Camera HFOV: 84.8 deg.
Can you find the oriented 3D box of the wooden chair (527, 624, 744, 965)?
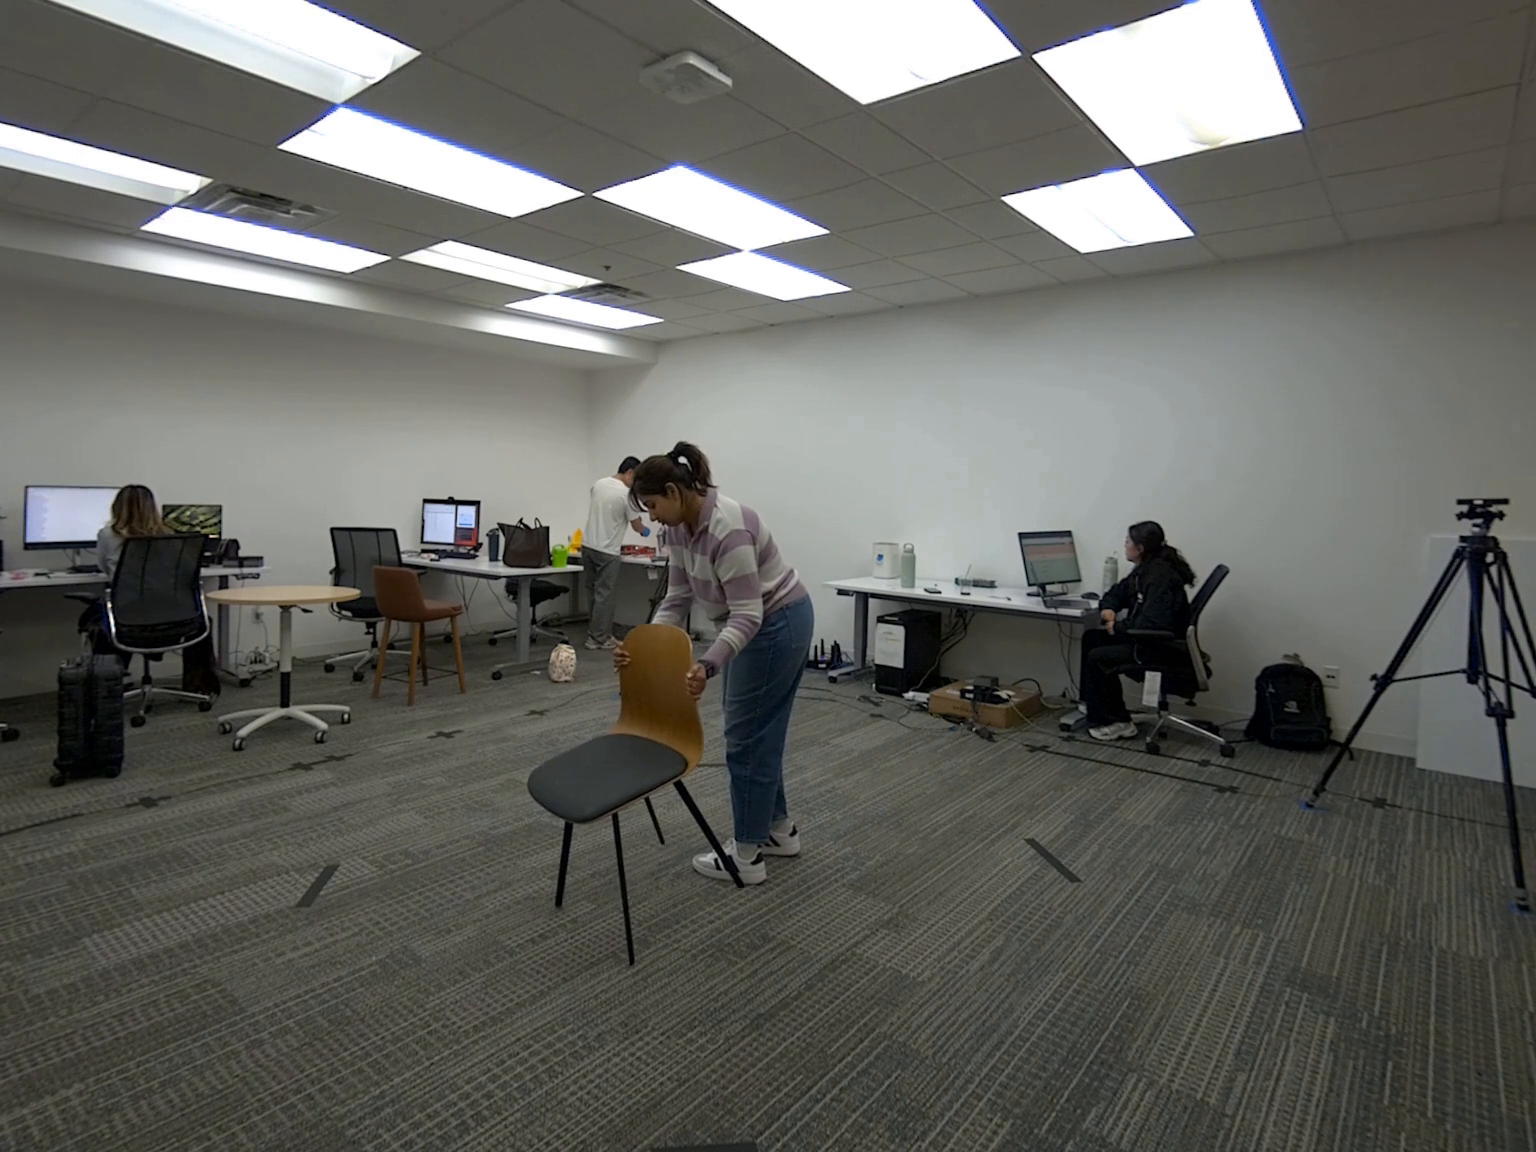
[{"bbox_3d":[-0.466,0.641,2.684,0.511,0.869,0.494,-13,12,-40],"label":"wooden chair"}]
